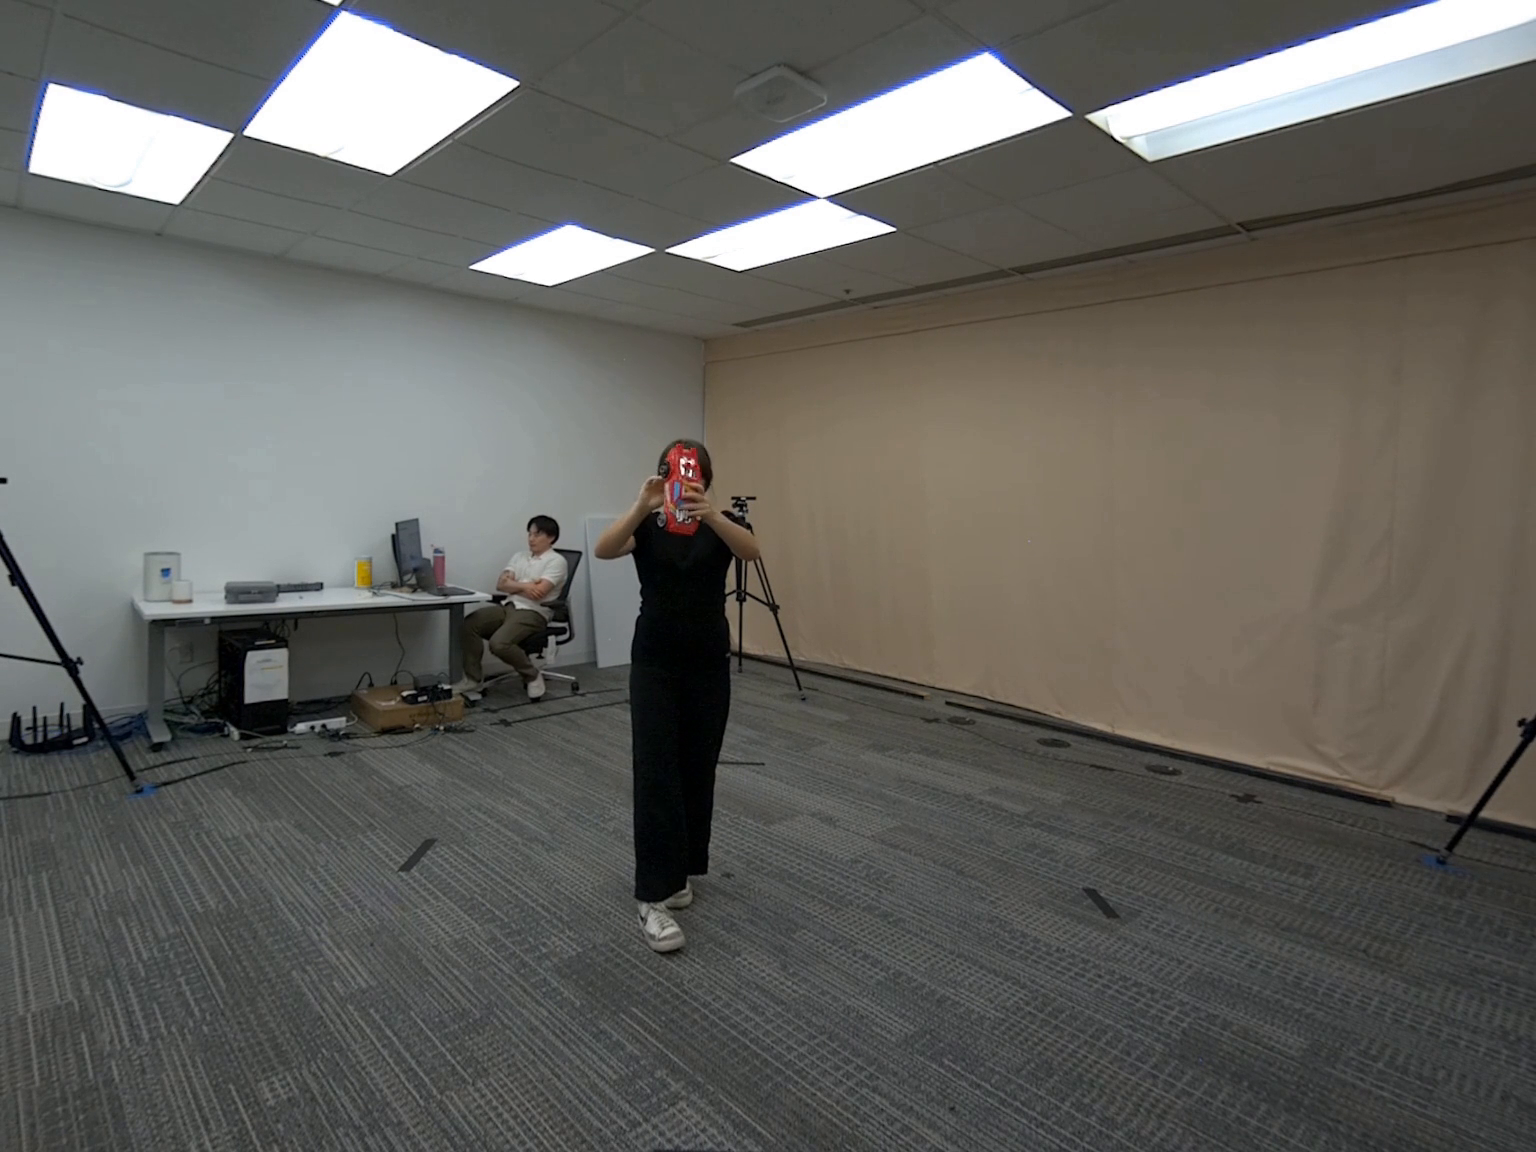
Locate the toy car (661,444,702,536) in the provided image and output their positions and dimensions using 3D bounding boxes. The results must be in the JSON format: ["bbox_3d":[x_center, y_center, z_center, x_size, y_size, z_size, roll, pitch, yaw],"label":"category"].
[{"bbox_3d":[-0.269,-0.250,2.414,0.127,0.255,0.085,10,-2,-39],"label":"toy car"}]
